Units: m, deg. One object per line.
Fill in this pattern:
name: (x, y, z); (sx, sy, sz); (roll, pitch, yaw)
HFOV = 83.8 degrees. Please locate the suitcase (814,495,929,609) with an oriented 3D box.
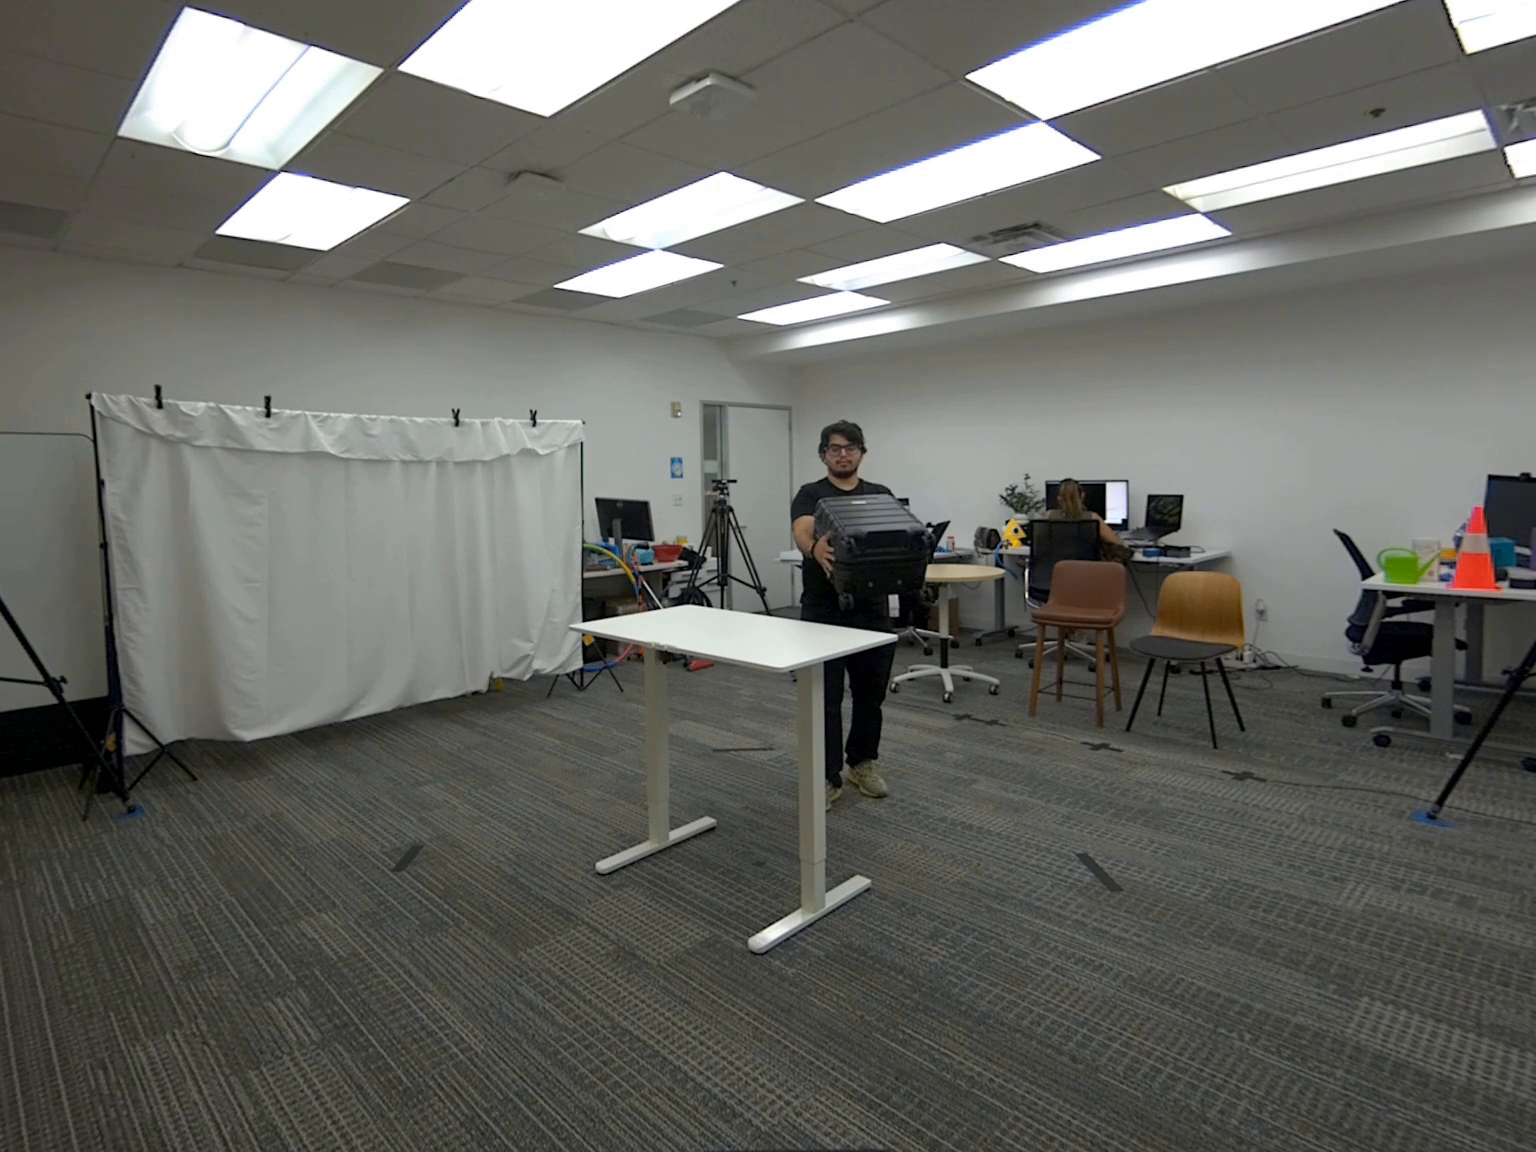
suitcase: (0.388, -0.119, 3.289); (0.376, 0.244, 0.559); (-1, 22, 0)
